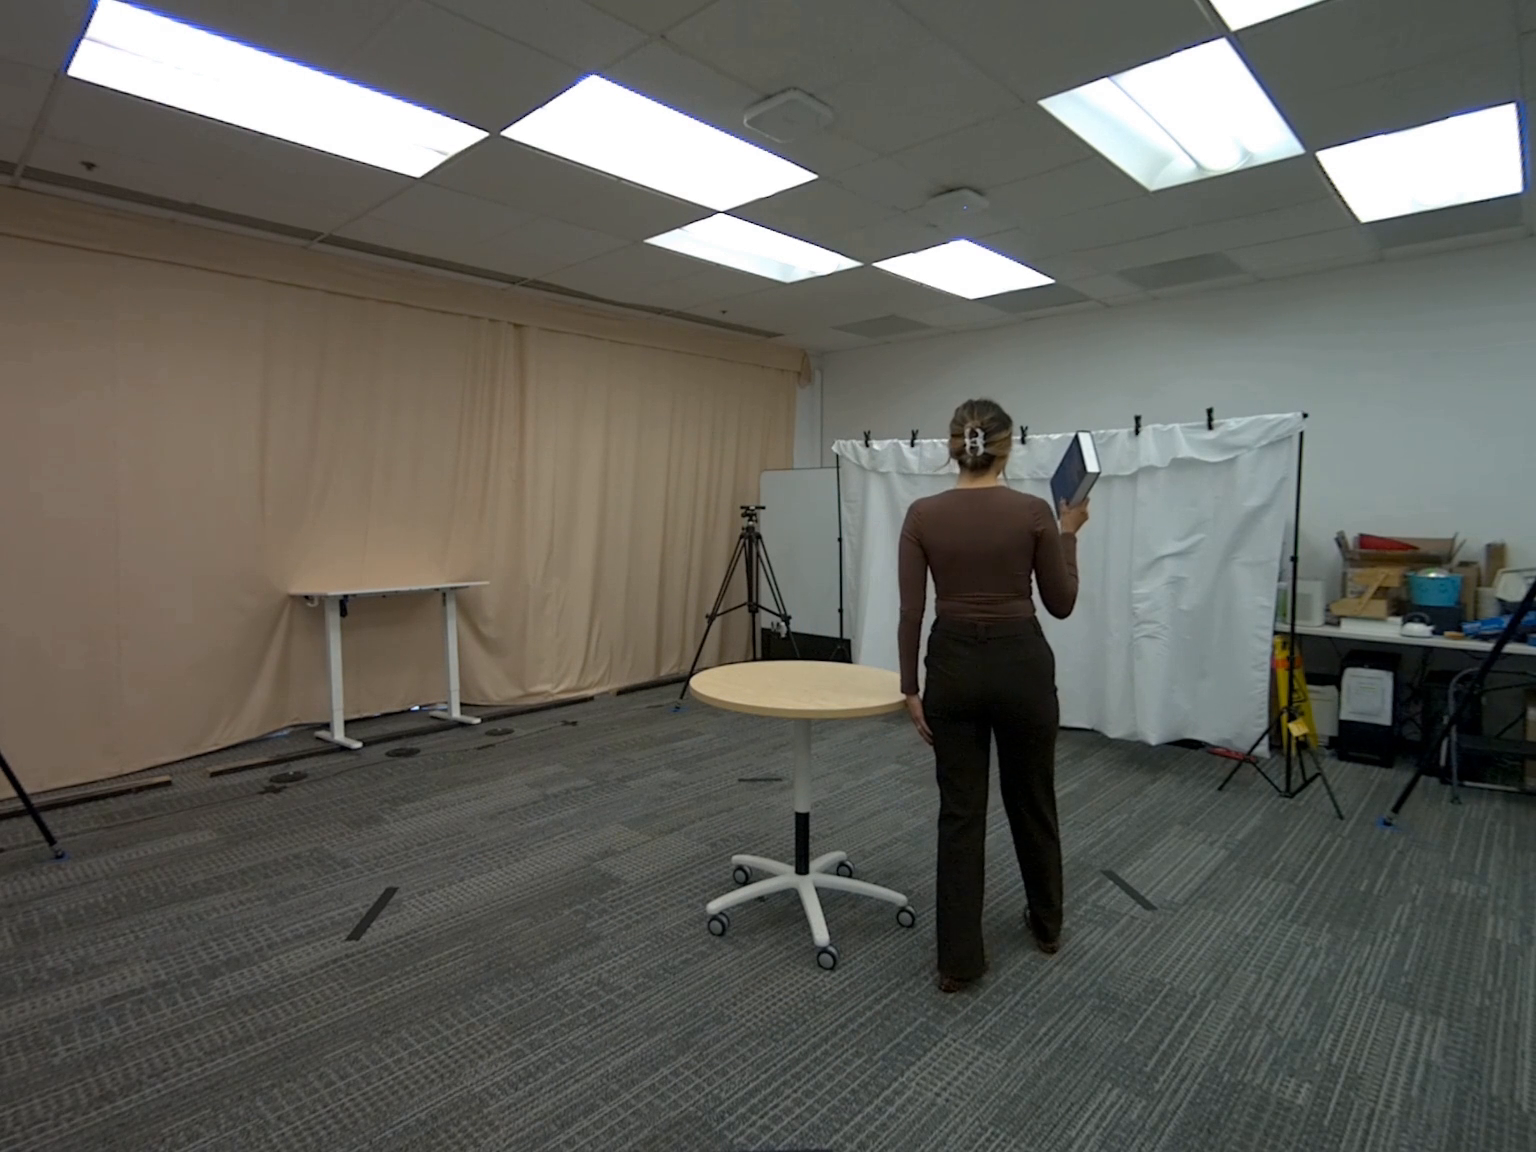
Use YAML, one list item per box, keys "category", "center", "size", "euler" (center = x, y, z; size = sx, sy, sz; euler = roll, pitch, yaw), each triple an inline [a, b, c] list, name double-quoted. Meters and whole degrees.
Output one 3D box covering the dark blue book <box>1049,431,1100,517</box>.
- category: "dark blue book"
  center: [0.948, -0.306, 2.580]
  size: [0.045, 0.166, 0.240]
  euler: [-1, -34, -1]
